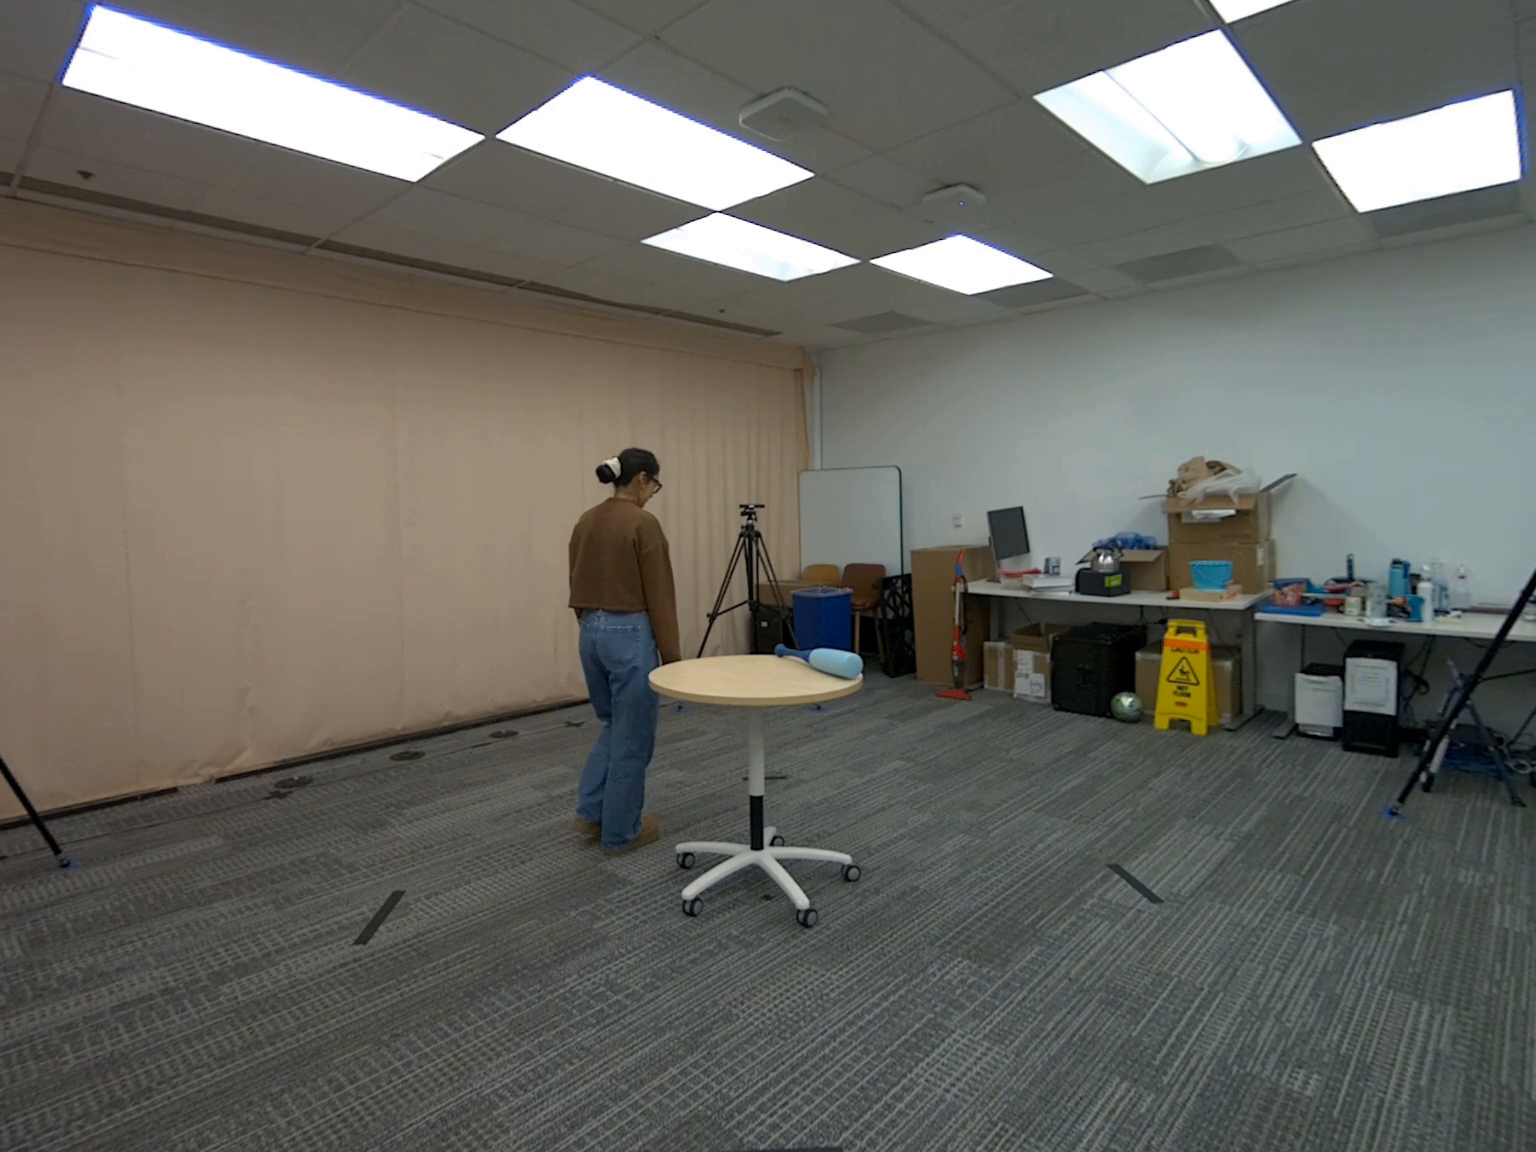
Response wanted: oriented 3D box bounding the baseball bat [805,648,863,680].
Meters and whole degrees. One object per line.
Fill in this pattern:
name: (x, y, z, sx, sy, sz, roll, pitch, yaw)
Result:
baseball bat: (0.179, 0.308, 3.140, 0.087, 0.089, 0.556, -2, 2, -26)
